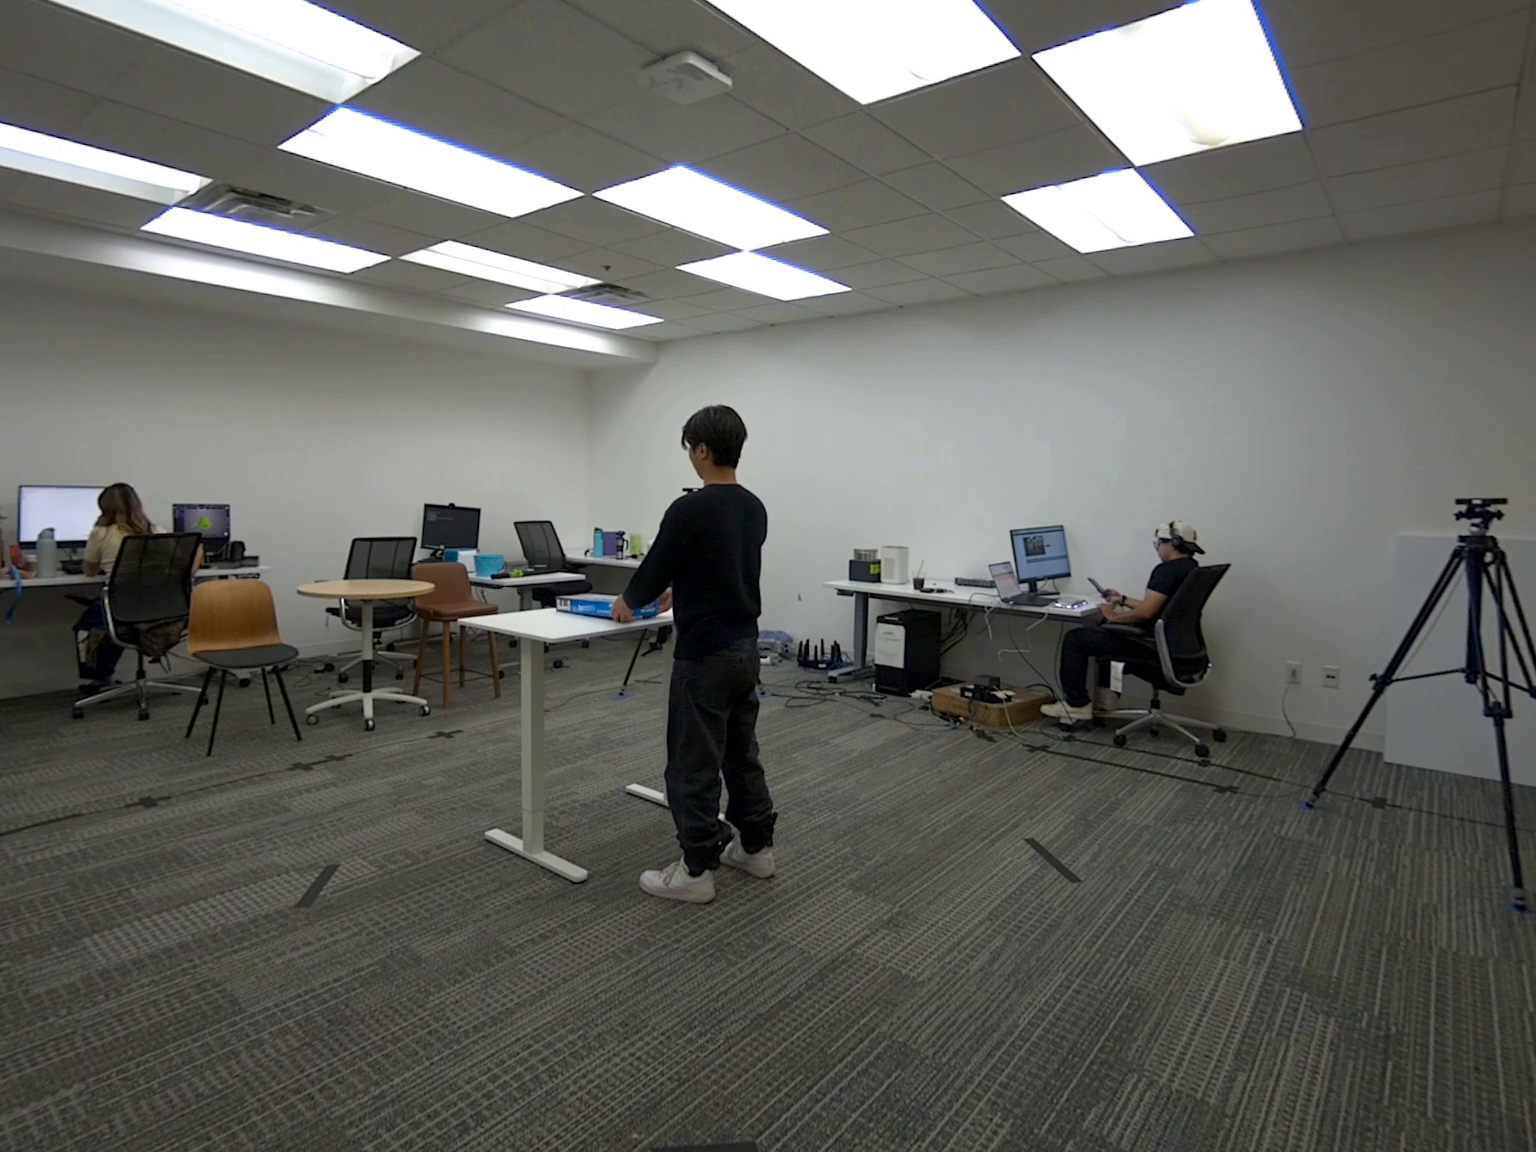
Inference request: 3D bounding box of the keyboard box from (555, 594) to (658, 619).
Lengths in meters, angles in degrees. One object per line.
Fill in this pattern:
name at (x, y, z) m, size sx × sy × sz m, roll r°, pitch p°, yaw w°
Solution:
keyboard box at (-0.660, 0.113, 3.395) m, size 0.451 × 0.059 × 0.171 m, roll 3°, pitch 5°, yaw 44°
